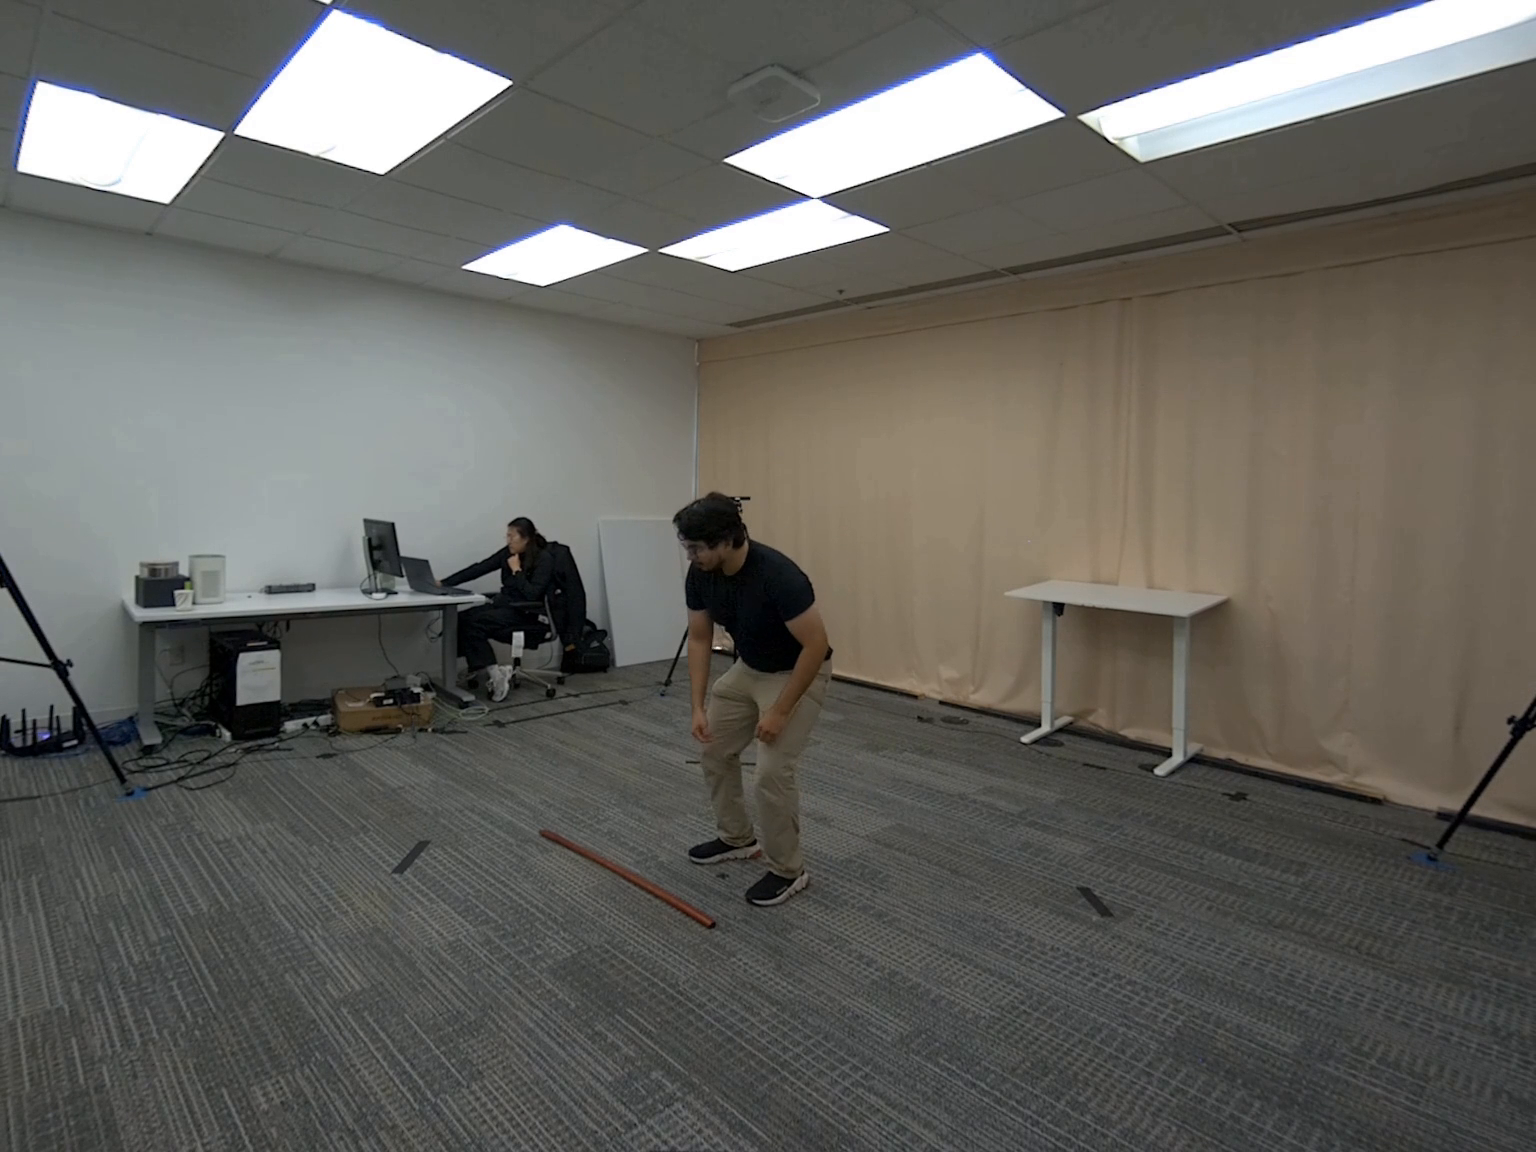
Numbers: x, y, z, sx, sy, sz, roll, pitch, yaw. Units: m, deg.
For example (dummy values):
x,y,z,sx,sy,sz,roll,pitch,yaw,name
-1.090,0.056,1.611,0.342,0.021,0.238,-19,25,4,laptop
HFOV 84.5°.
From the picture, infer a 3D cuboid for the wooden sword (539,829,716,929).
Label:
x,y,z,sx,sy,sz,roll,pitch,yaw,name
-0.534,1.077,3.084,1.051,0.024,0.050,6,15,44,wooden sword
